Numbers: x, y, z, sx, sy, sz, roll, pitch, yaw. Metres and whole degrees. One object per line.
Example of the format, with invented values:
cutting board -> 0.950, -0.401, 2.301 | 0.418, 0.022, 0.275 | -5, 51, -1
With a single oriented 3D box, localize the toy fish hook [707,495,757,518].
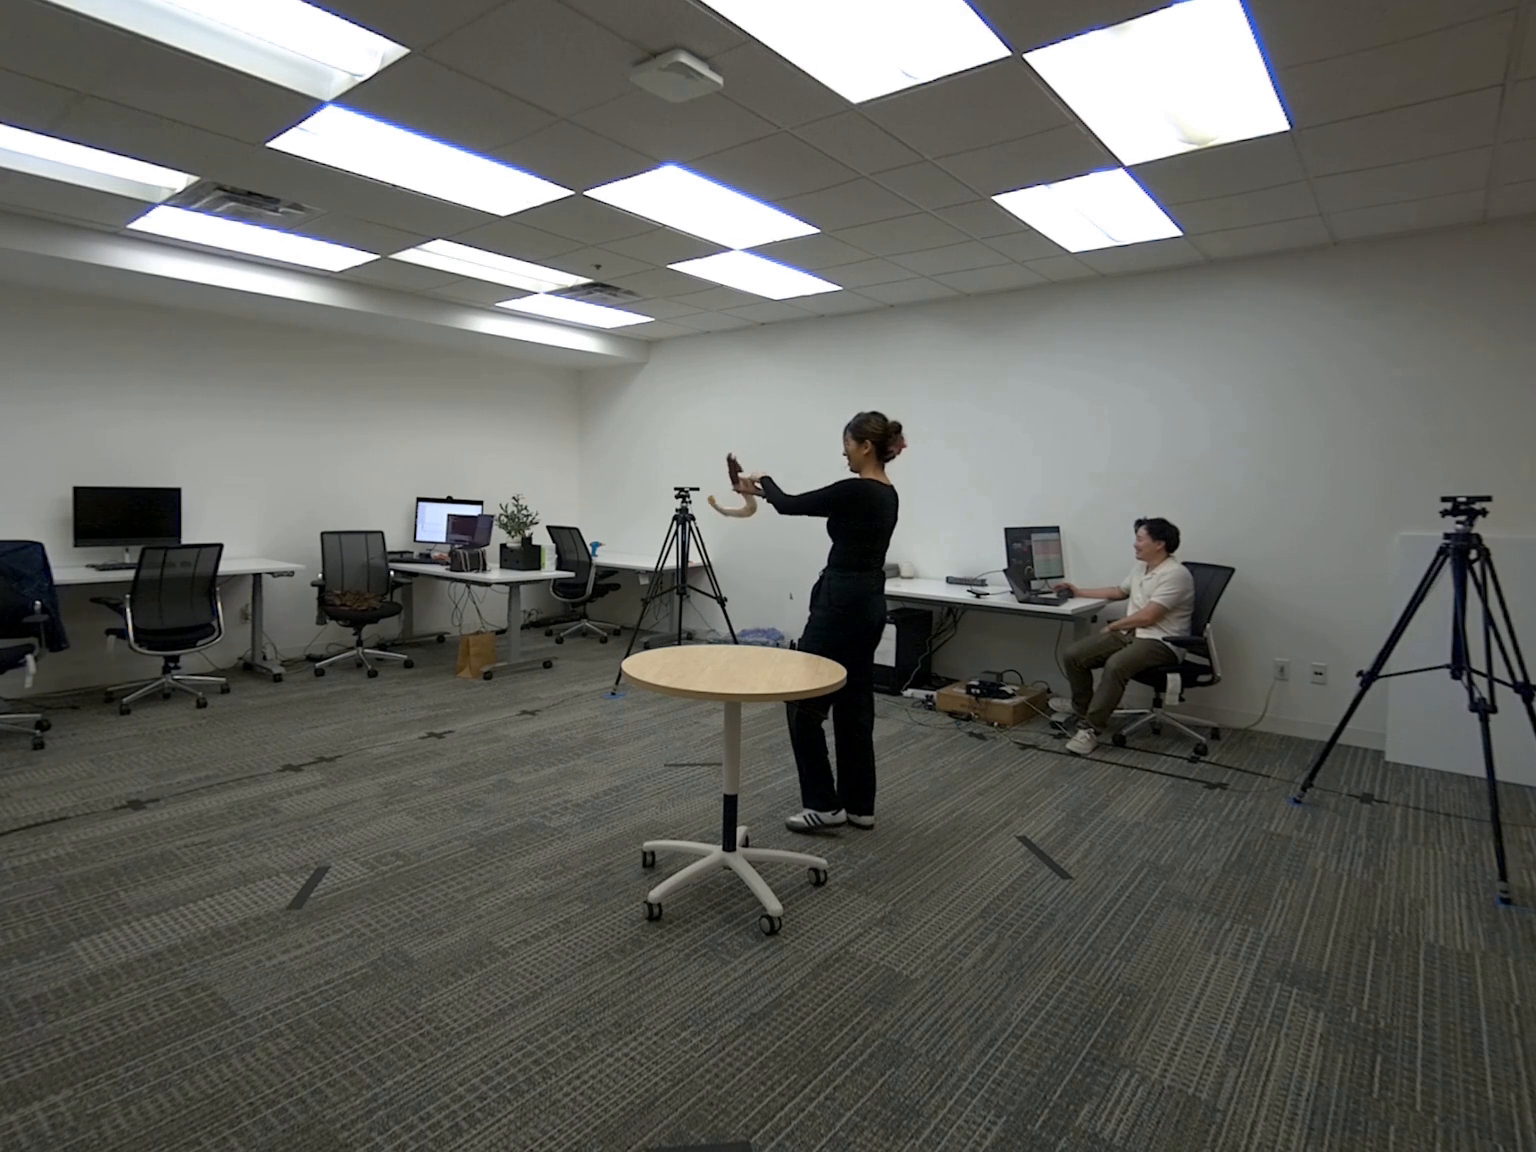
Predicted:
toy fish hook -> -0.188, -0.390, 3.741 | 0.227, 0.049, 0.490 | -2, -28, 8
